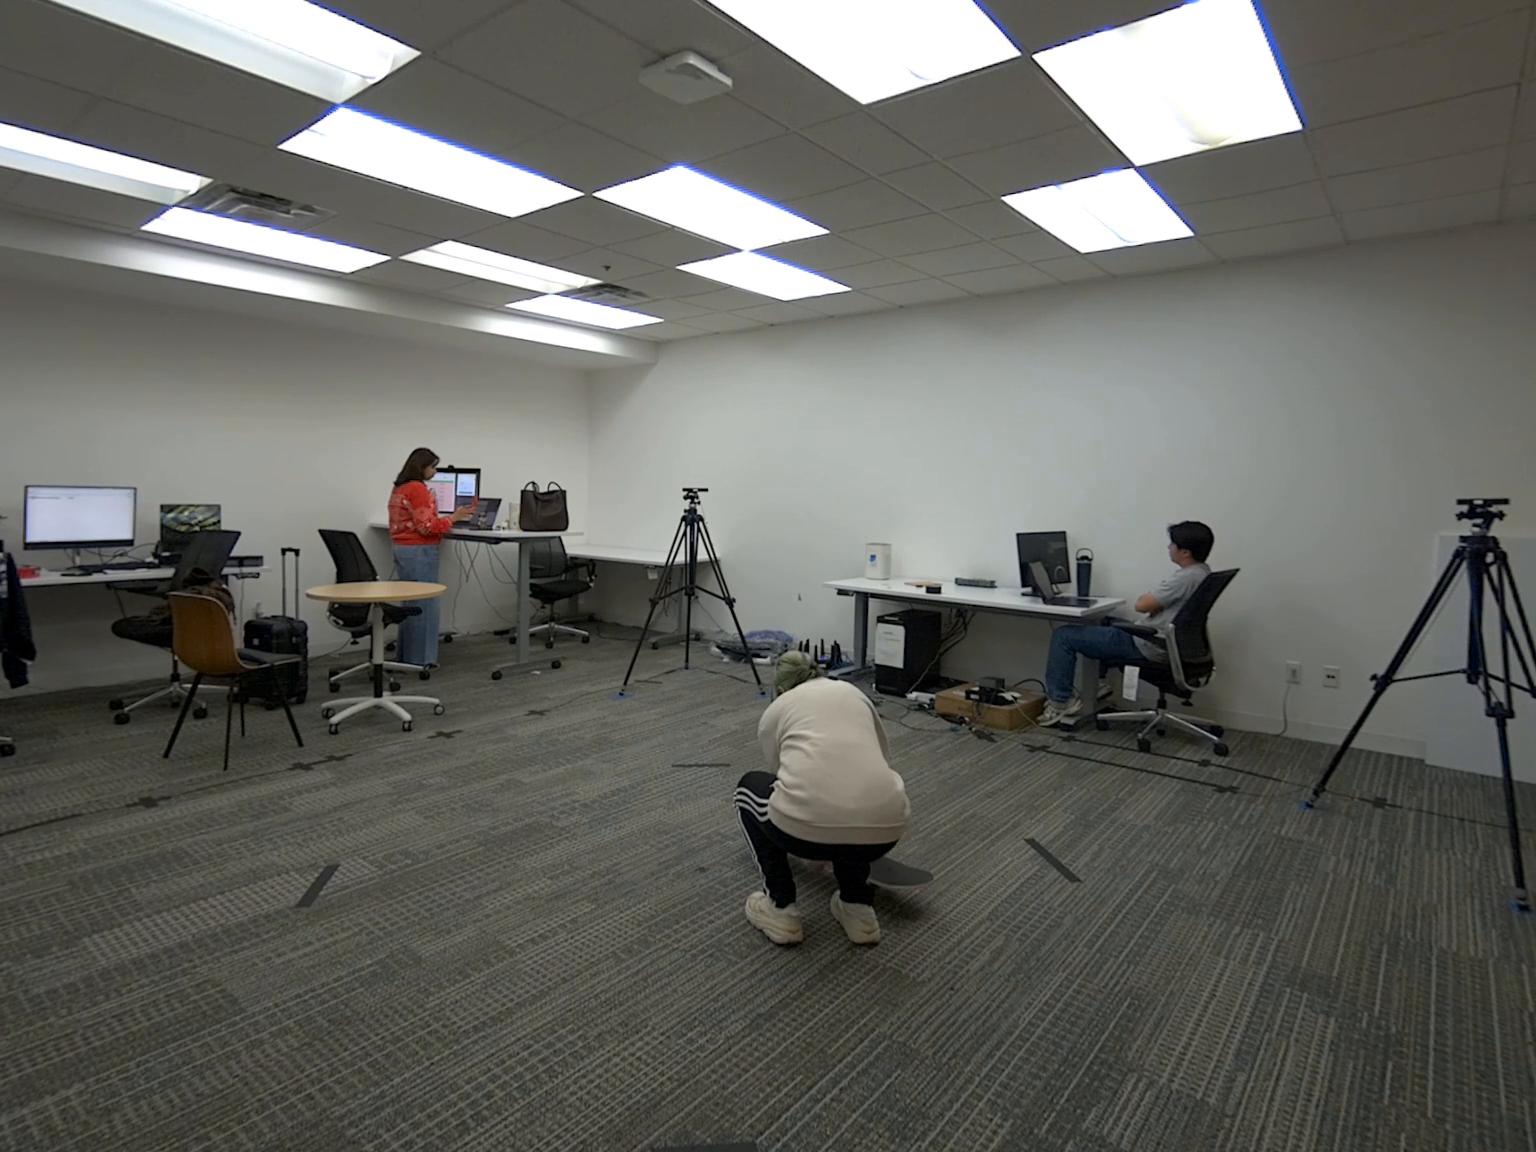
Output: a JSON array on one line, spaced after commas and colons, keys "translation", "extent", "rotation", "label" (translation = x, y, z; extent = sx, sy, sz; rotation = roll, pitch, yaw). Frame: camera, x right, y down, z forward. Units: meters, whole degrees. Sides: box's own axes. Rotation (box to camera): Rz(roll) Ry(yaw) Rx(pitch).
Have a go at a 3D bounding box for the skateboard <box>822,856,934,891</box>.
[{"translation": [0.211, 0.994, 3.045], "extent": [0.813, 0.110, 0.188], "rotation": [8, 7, 38], "label": "skateboard"}]
